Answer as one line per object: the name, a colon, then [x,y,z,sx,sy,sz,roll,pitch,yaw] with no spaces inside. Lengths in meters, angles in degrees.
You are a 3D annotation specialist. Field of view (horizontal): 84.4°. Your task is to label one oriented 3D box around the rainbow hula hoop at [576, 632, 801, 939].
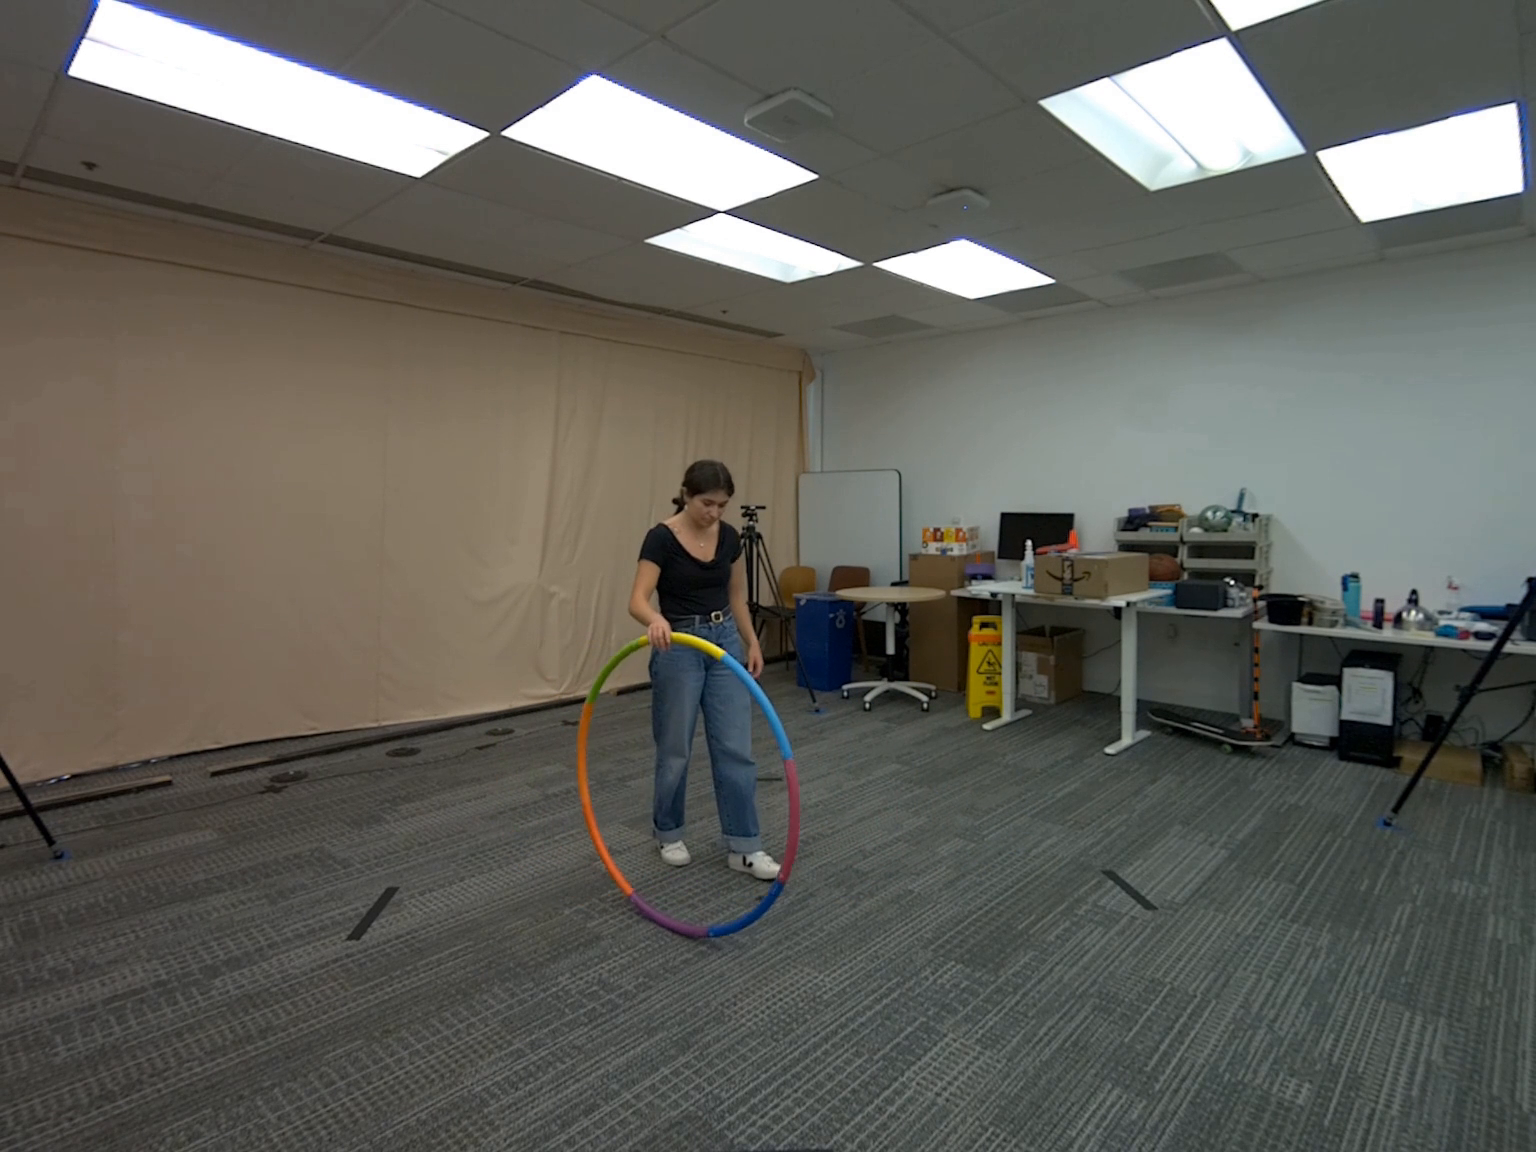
rainbow hula hoop: [-0.296,0.675,2.763,1.011,0.978,0.034,3,1,39]
